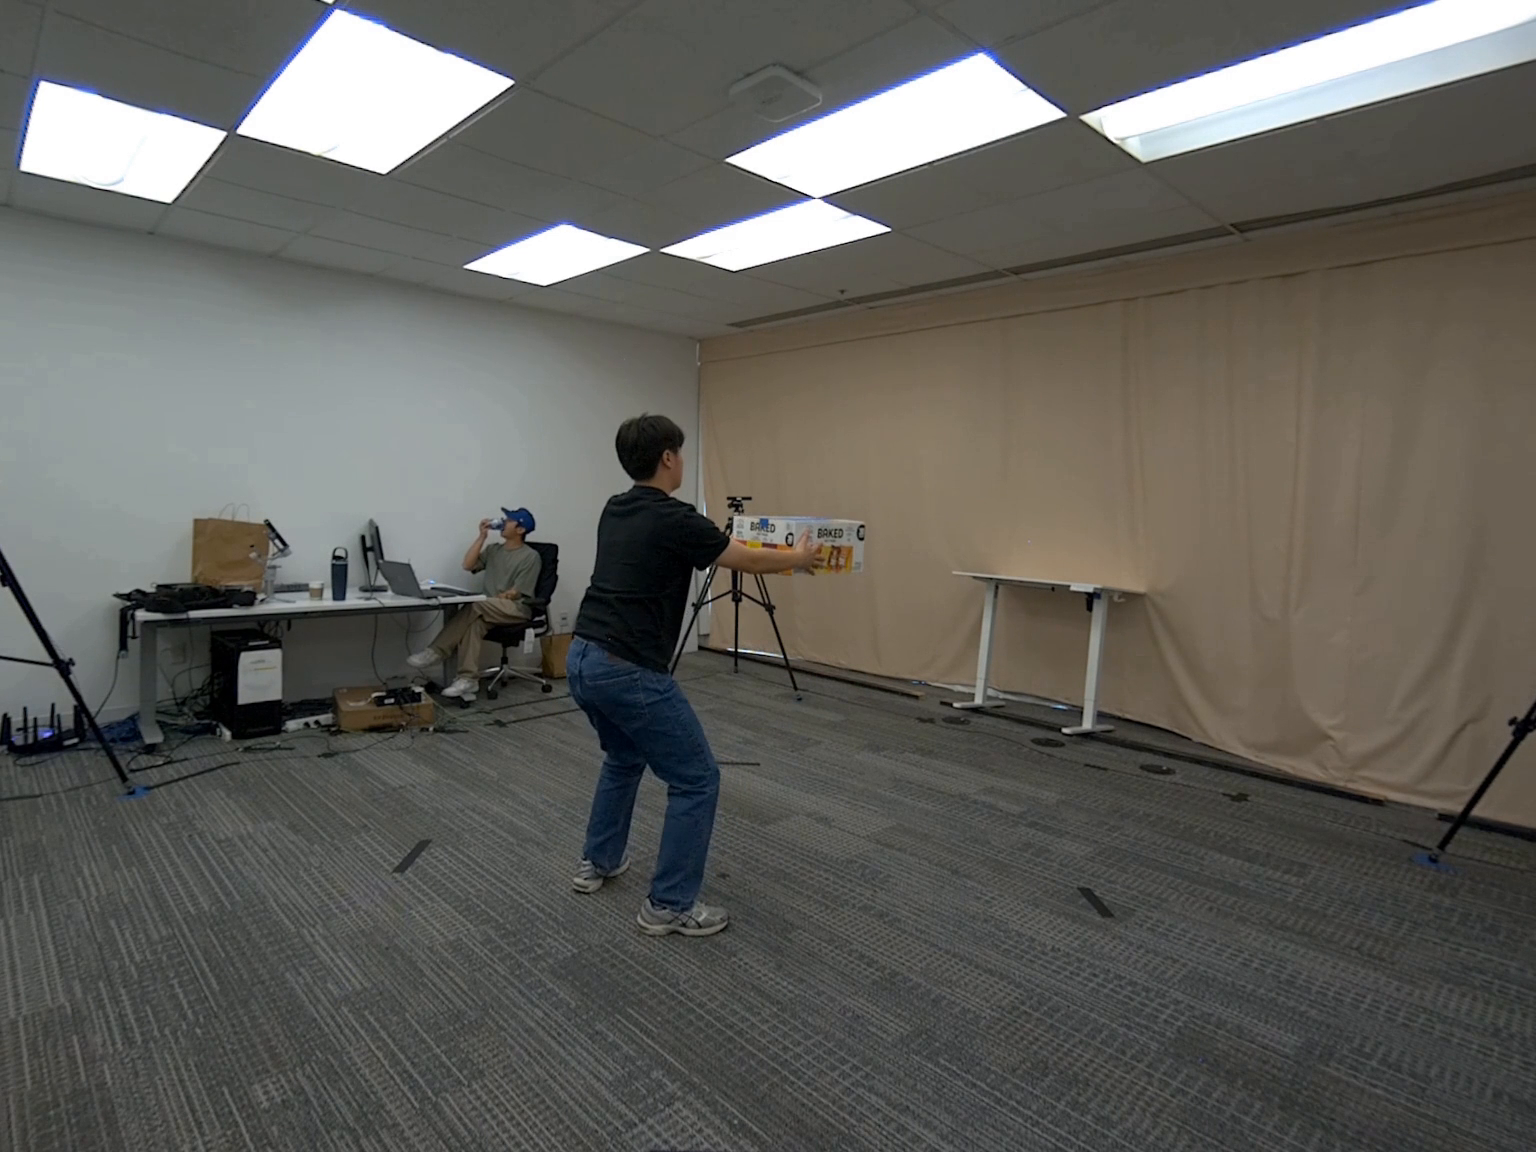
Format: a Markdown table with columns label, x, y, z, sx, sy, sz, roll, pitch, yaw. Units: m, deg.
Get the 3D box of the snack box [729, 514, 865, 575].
| label | x | y | z | sx | sy | sz | roll | pitch | yaw |
| --- | --- | --- | --- | --- | --- | --- | --- | --- | --- |
| snack box | 0.116 | -0.119 | 3.332 | 0.396 | 0.205 | 0.349 | -2 | 7 | -43 |
